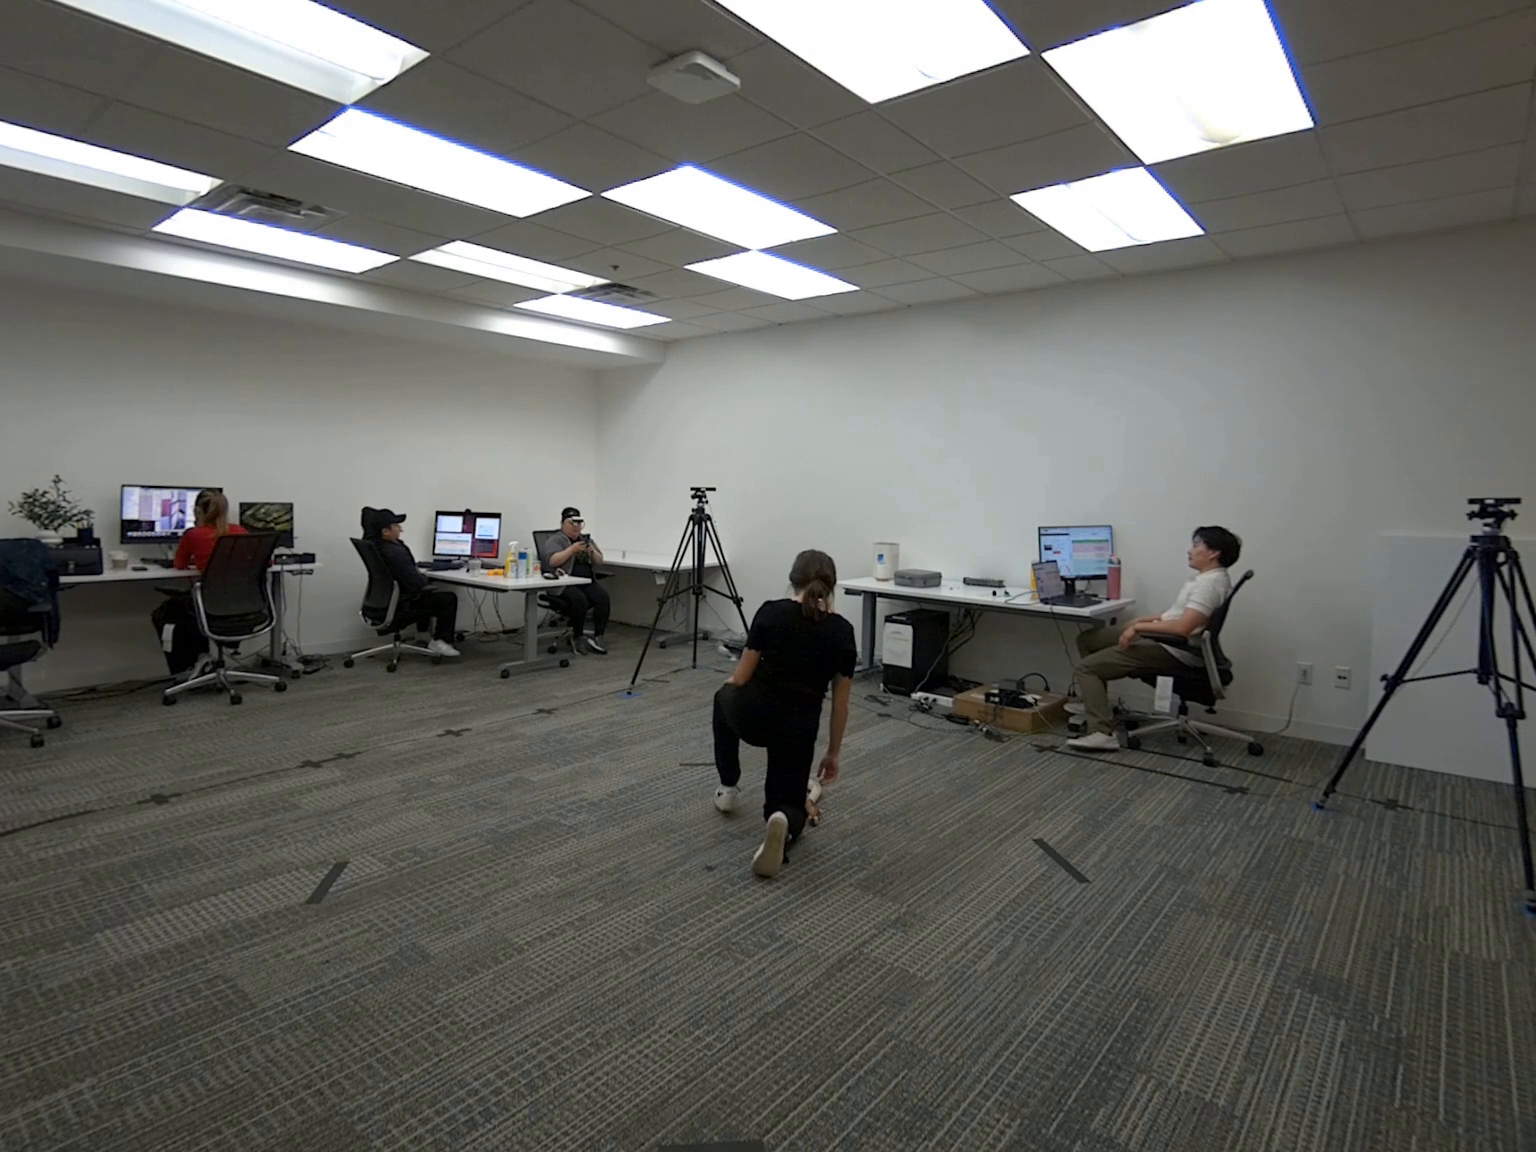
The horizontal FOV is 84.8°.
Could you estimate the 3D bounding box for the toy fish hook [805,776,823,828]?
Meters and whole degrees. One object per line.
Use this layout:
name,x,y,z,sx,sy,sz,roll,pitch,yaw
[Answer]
toy fish hook,0.123,0.986,3.761,0.225,0.048,0.509,-6,6,-1
